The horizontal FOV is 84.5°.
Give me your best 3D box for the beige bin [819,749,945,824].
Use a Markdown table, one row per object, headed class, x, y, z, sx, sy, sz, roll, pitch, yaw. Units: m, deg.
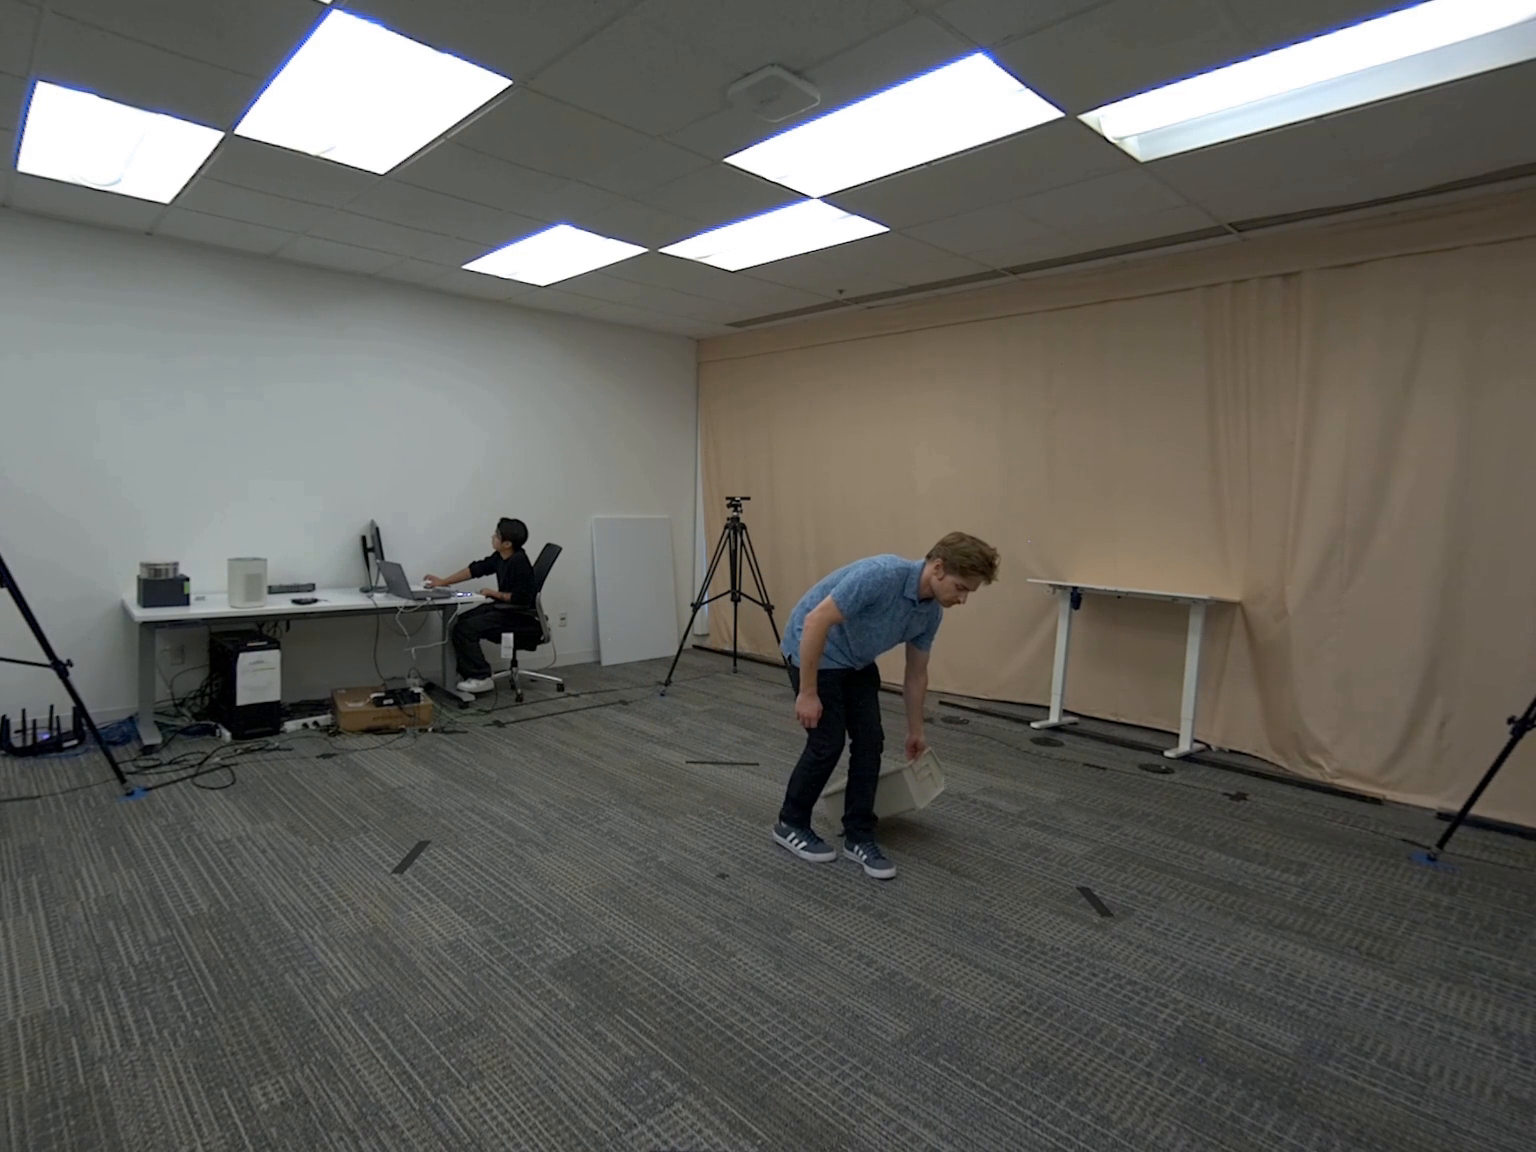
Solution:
| class | x | y | z | sx | sy | sz | roll | pitch | yaw |
| --- | --- | --- | --- | --- | --- | --- | --- | --- | --- |
| beige bin | 0.487 | 0.902 | 3.571 | 0.426 | 0.190 | 0.370 | -25 | -8 | 27 |
